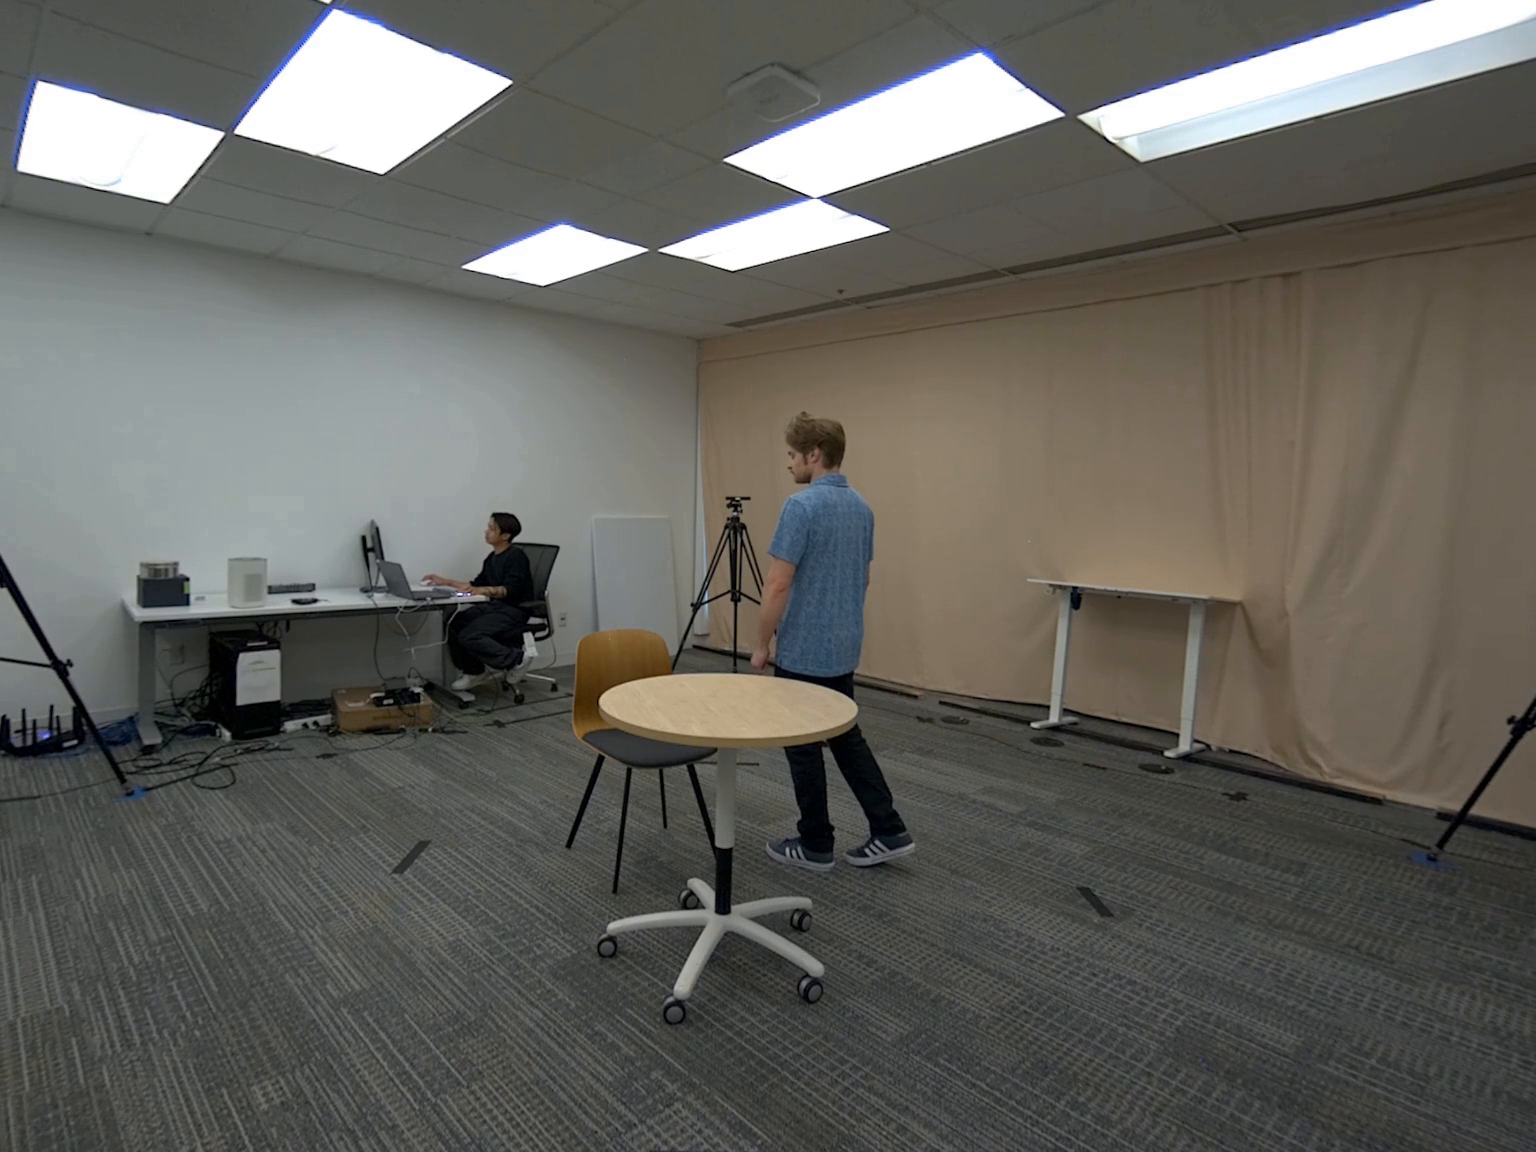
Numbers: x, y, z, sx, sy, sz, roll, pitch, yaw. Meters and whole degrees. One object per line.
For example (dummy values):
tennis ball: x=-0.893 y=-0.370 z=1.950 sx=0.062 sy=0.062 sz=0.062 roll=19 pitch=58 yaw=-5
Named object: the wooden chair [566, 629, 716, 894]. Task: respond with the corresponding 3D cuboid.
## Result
wooden chair: x=-0.471 y=0.660 z=3.213 sx=0.468 sy=0.878 sz=0.534 roll=0 pitch=-1 yaw=-34
